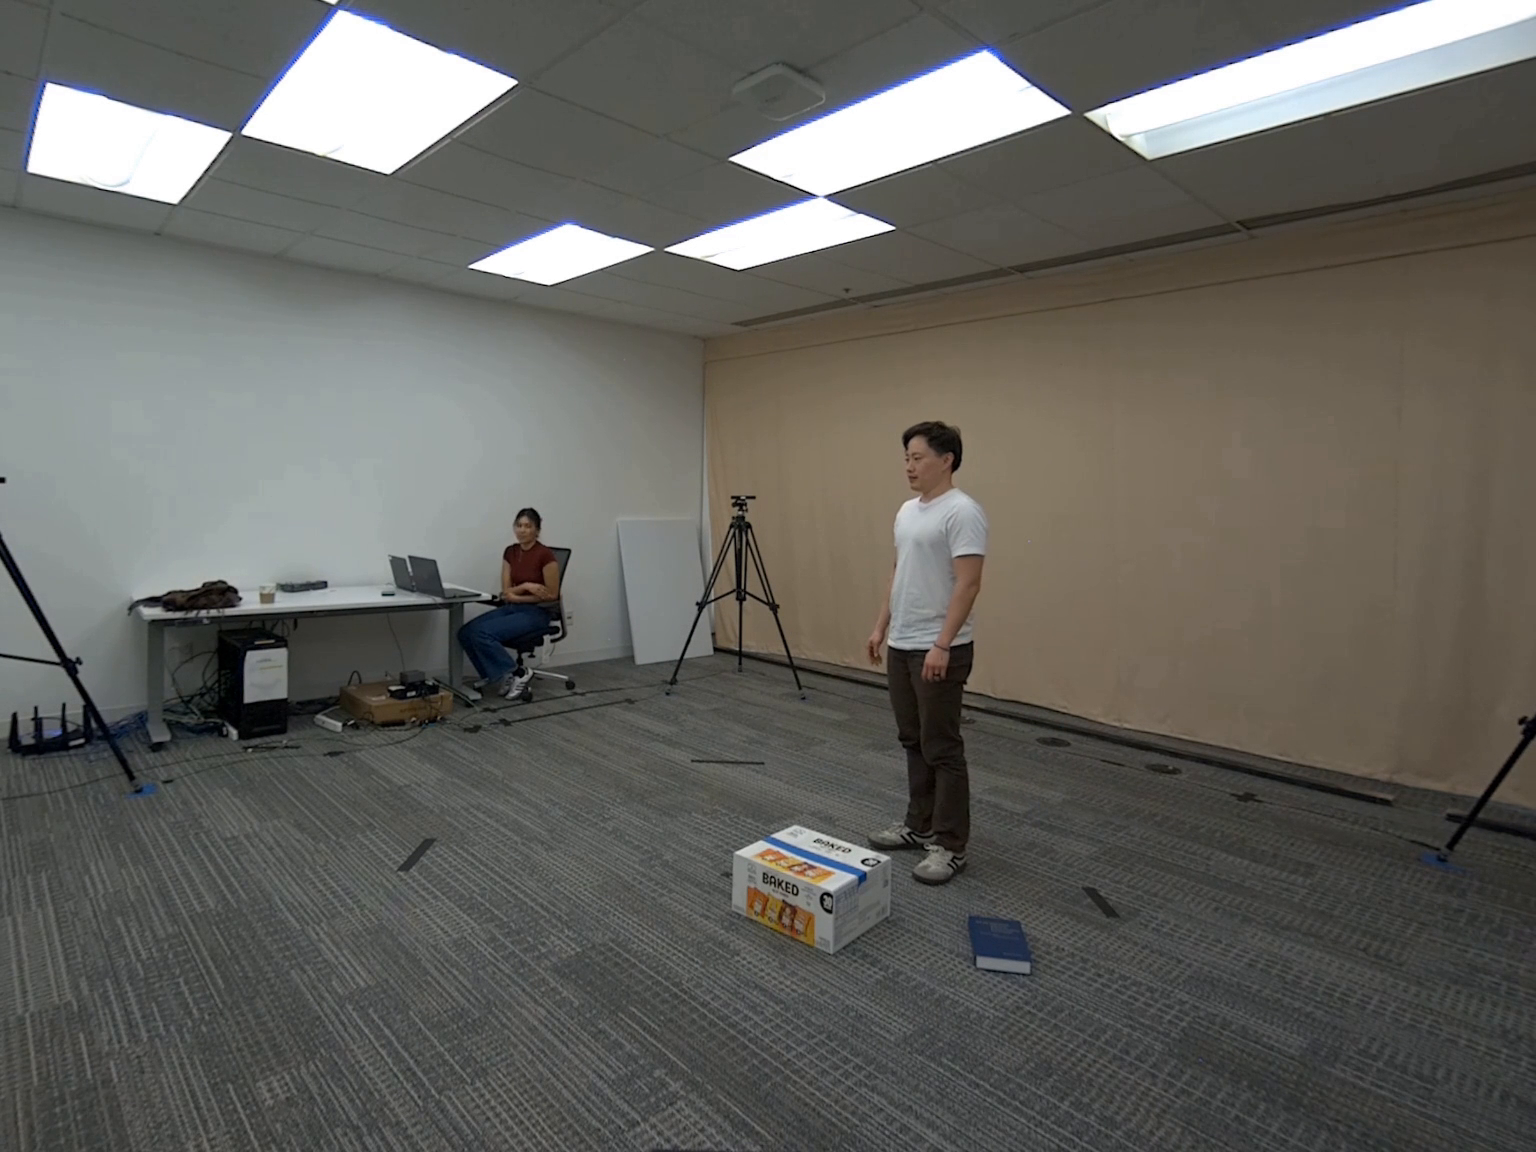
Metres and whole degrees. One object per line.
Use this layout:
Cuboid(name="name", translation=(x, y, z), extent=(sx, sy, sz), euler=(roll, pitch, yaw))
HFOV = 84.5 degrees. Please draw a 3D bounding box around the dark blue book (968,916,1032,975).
Cuboid(name="dark blue book", translation=(0.710, 1.145, 2.615), extent=(0.165, 0.045, 0.244), euler=(3, 5, 9))
